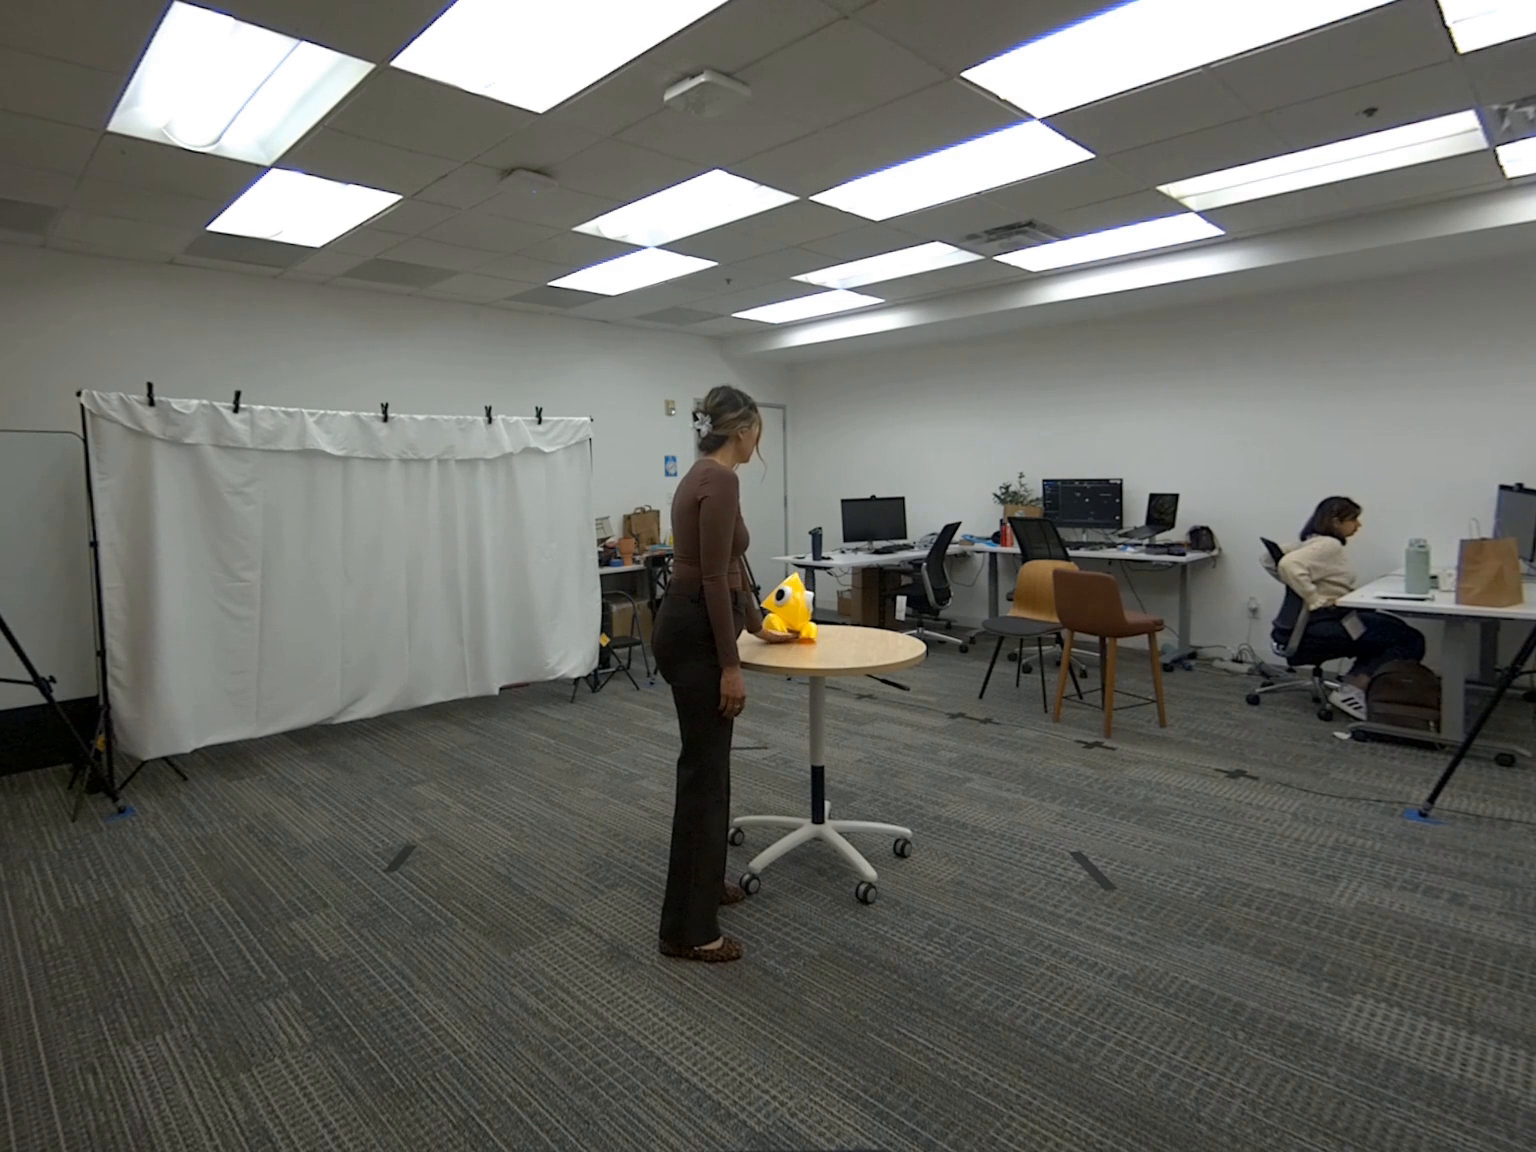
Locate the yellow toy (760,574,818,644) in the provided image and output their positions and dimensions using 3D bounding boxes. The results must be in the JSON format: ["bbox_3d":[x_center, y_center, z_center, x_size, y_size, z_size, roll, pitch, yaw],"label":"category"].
[{"bbox_3d":[0.105,0.100,3.138,0.202,0.232,0.195,12,-6,-13],"label":"yellow toy"}]
